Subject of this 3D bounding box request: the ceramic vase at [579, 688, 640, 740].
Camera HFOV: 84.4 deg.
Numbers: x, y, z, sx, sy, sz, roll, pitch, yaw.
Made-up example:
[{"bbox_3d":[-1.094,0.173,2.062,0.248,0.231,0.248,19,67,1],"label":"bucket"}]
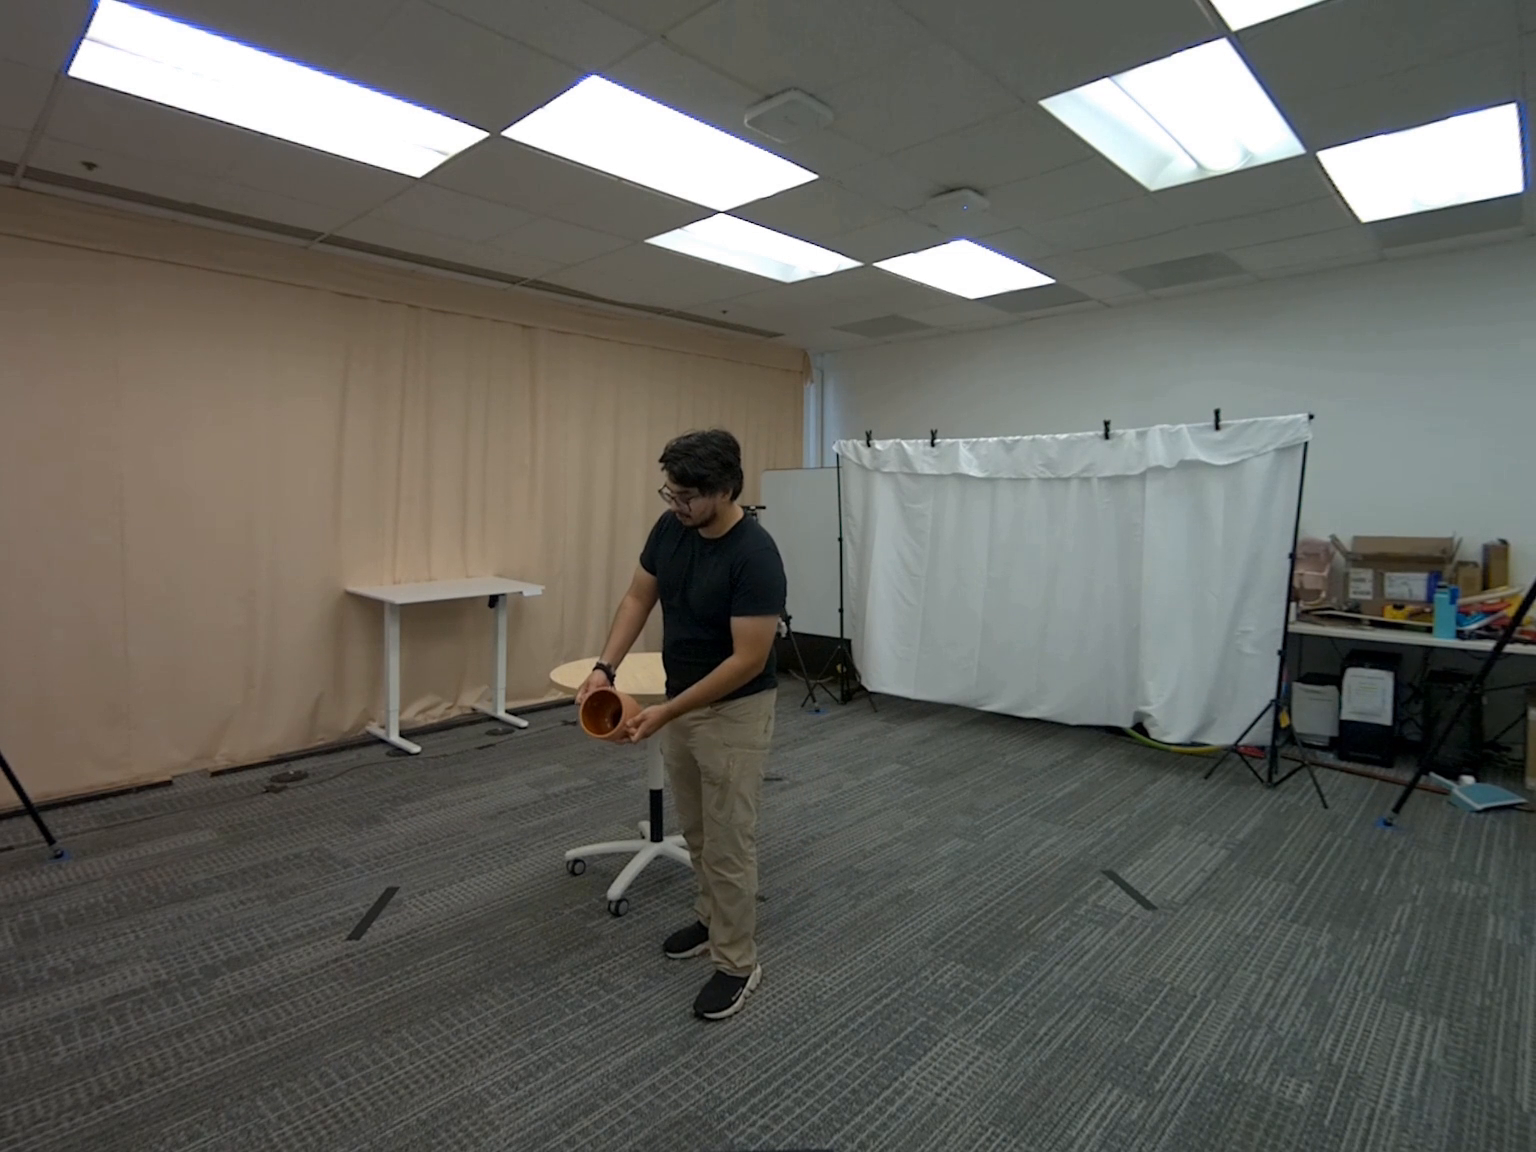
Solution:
[{"bbox_3d":[-0.407,0.388,2.296,0.135,0.162,0.213,-23,-25,8],"label":"ceramic vase"}]
